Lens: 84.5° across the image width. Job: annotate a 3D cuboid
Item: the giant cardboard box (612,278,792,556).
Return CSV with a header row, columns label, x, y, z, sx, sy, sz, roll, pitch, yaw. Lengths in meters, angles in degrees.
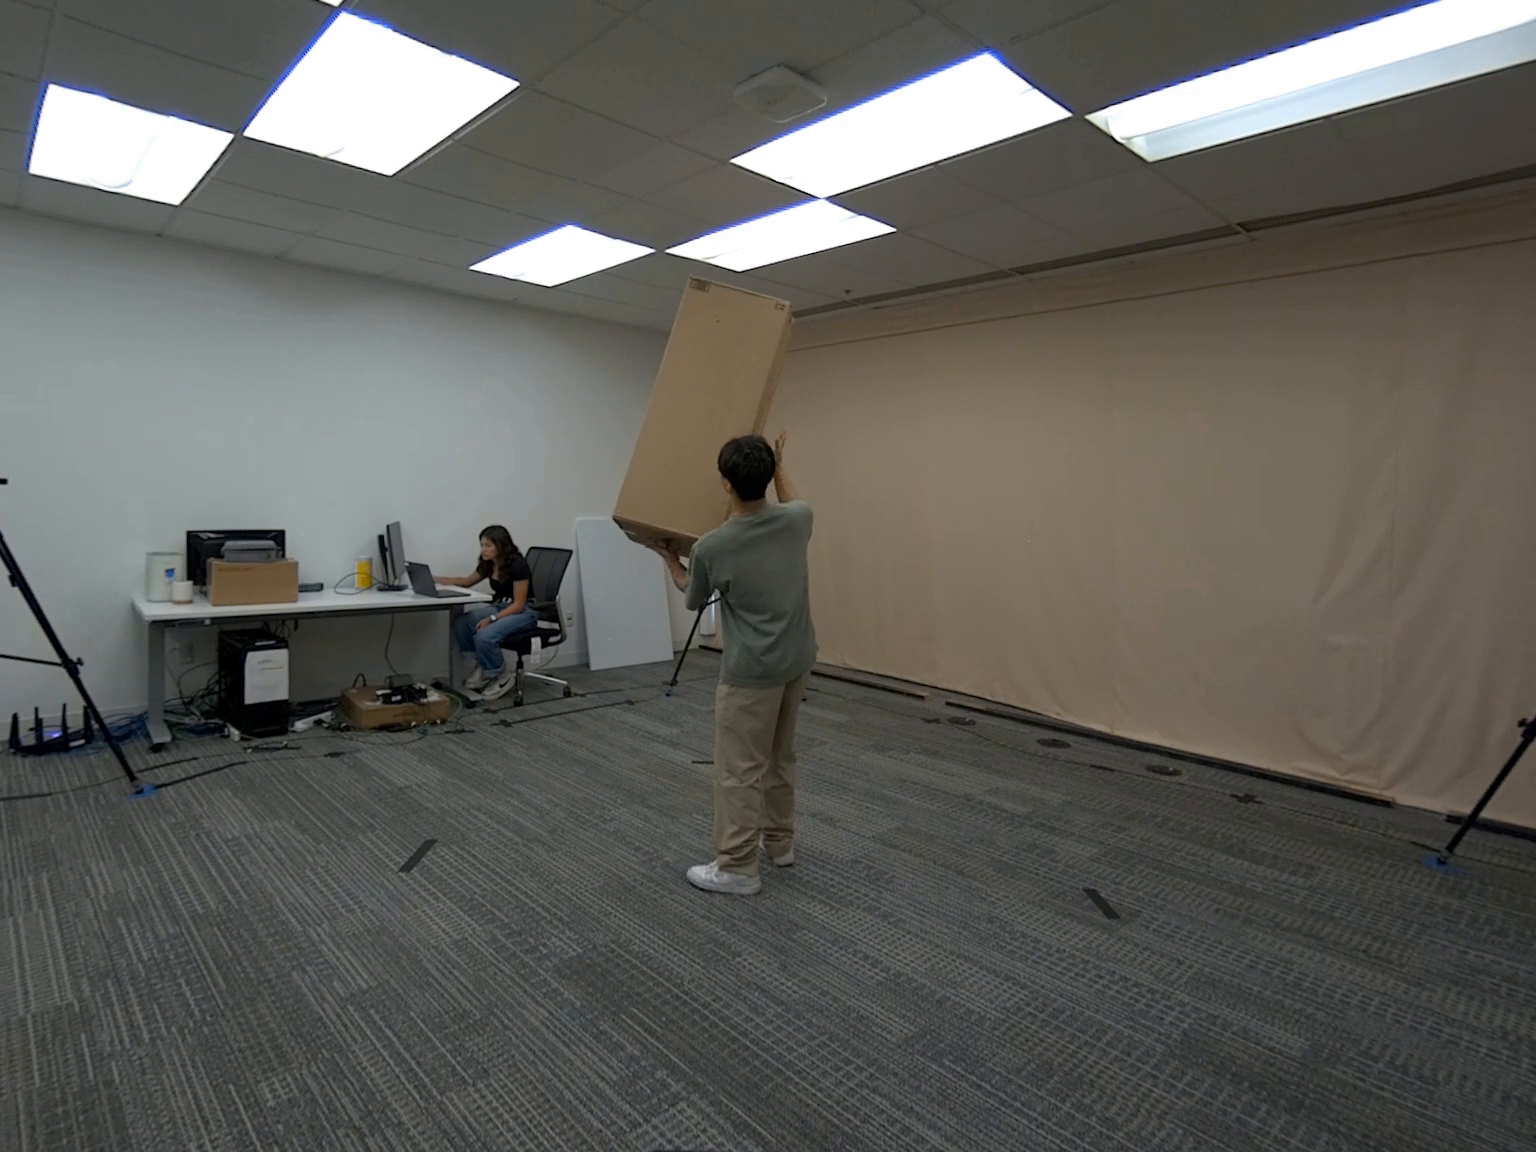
label,x,y,z,sx,sy,sz,roll,pitch,yaw
giant cardboard box,-0.265,-0.595,3.531,0.428,1.030,0.573,16,-9,2
